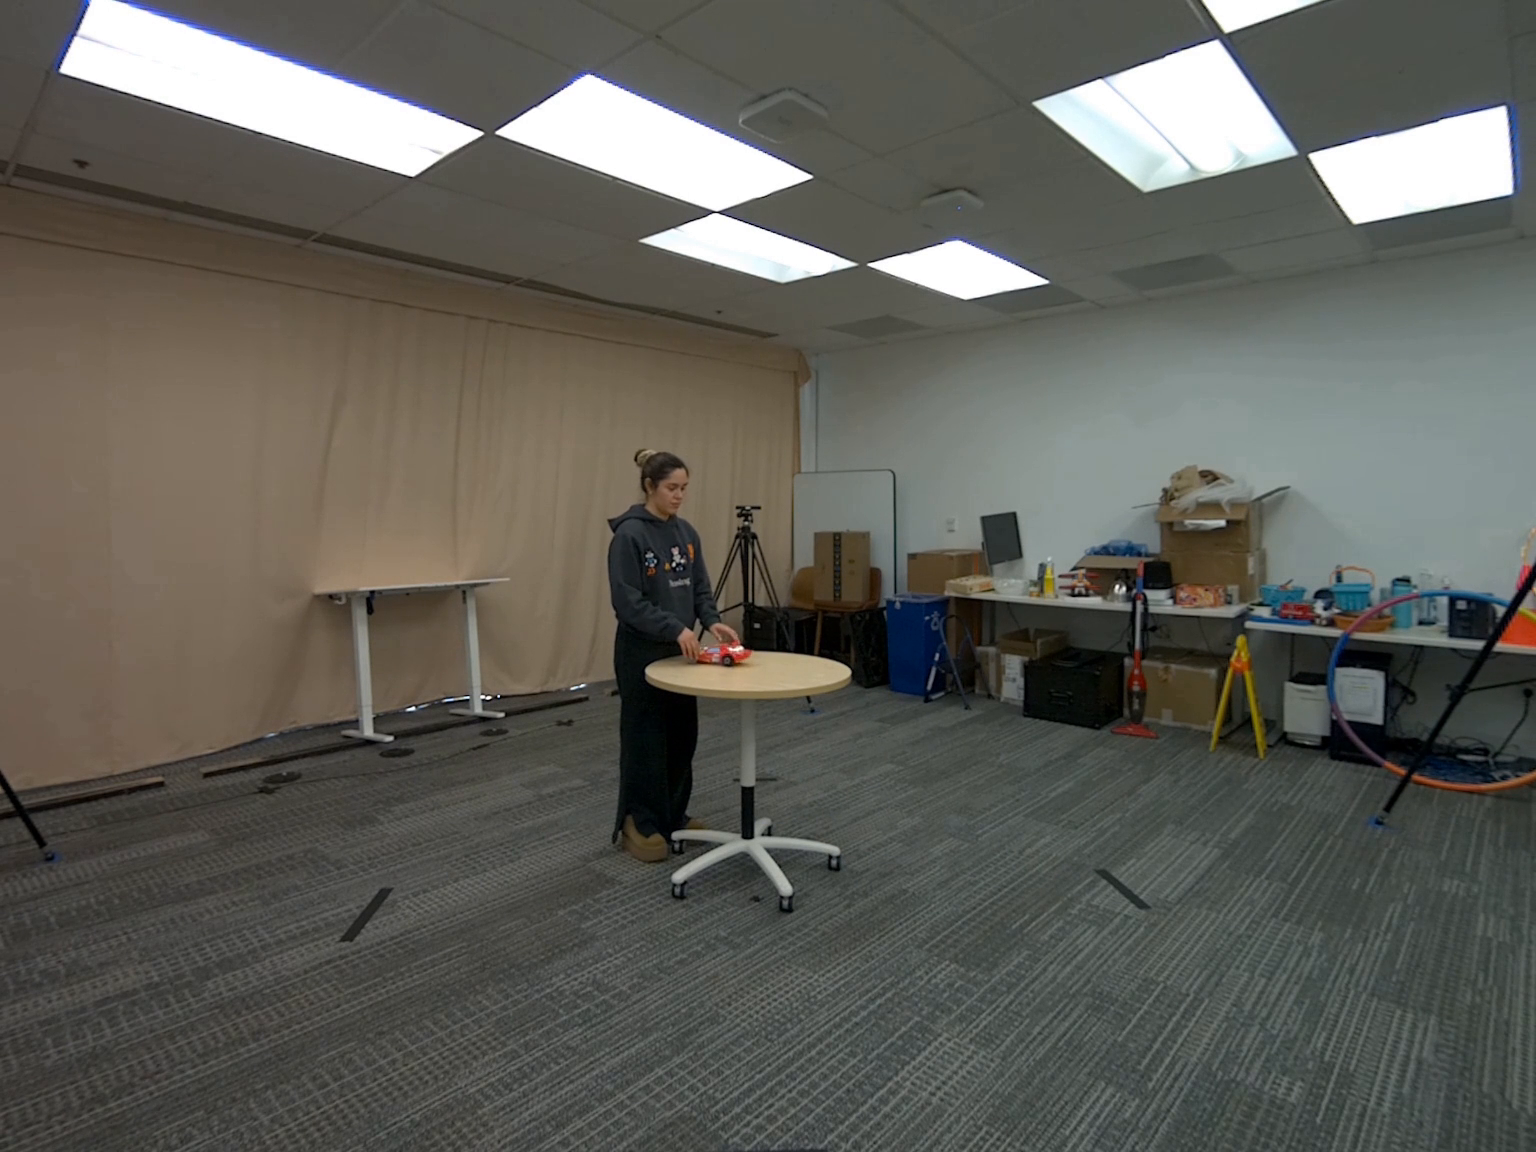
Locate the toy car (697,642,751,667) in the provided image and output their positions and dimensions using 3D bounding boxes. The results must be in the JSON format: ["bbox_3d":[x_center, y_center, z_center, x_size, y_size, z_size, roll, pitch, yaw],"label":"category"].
[{"bbox_3d":[-0.164,0.307,3.254,0.259,0.083,0.128,-12,0,21],"label":"toy car"}]
